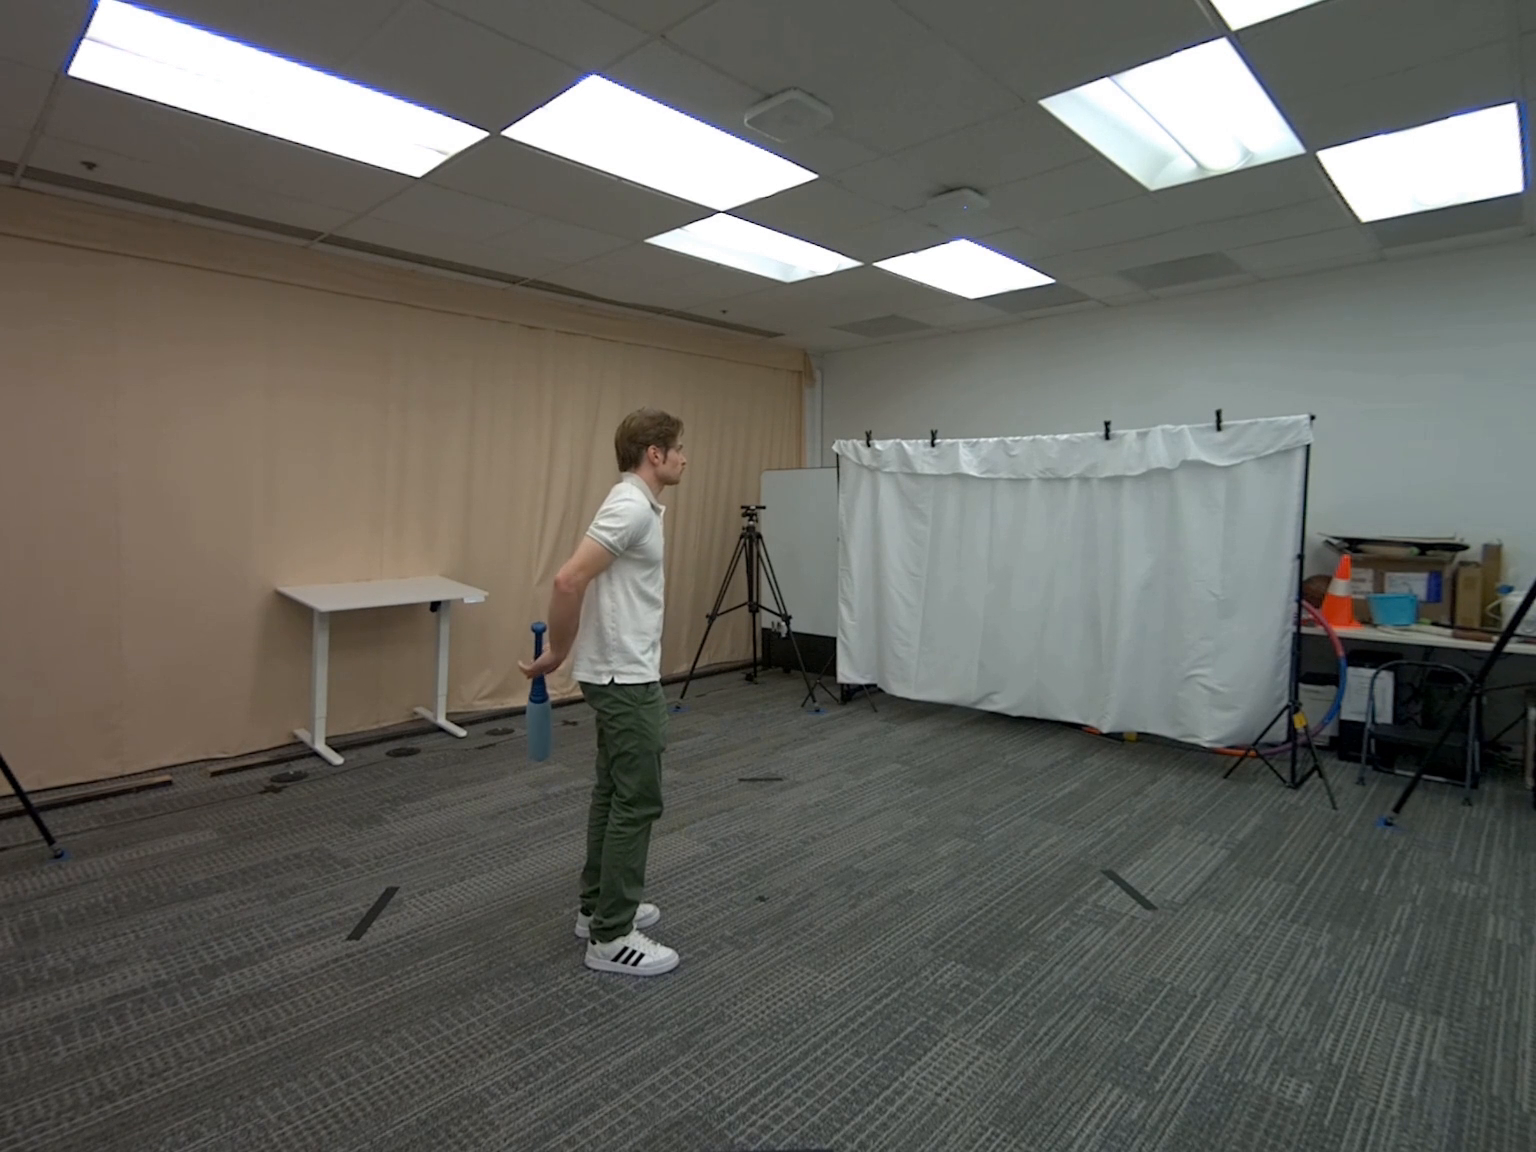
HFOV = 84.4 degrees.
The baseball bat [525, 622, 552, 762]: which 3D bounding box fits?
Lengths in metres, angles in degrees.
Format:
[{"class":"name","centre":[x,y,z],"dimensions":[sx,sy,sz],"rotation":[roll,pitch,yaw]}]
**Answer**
[{"class":"baseball bat","centre":[-0.769,0.396,2.834],"dimensions":[0.089,0.536,0.090],"rotation":[5,28,-4]}]
